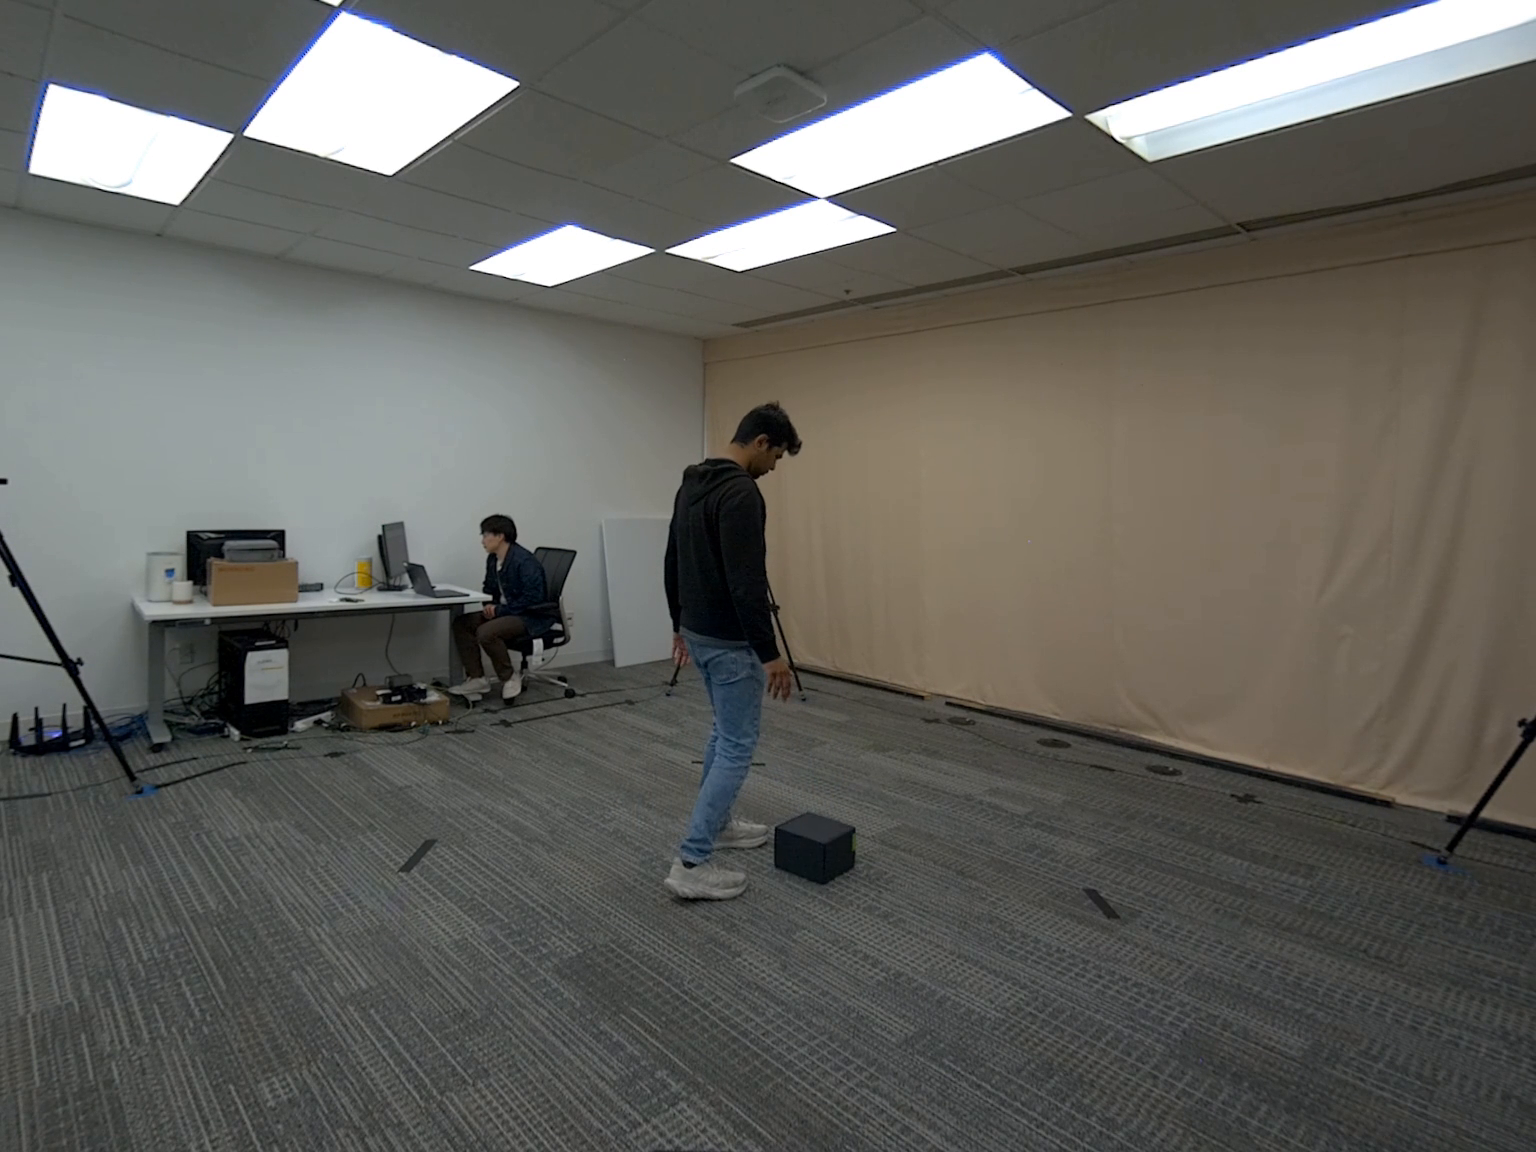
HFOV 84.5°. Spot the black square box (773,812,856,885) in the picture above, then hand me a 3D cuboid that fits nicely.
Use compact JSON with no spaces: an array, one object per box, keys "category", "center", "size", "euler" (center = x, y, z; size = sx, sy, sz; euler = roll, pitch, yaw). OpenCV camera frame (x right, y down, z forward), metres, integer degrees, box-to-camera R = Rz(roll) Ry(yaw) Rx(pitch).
[{"category":"black square box","center":[0.165,1.022,3.197],"size":[0.233,0.155,0.212],"euler":[5,6,40]}]
